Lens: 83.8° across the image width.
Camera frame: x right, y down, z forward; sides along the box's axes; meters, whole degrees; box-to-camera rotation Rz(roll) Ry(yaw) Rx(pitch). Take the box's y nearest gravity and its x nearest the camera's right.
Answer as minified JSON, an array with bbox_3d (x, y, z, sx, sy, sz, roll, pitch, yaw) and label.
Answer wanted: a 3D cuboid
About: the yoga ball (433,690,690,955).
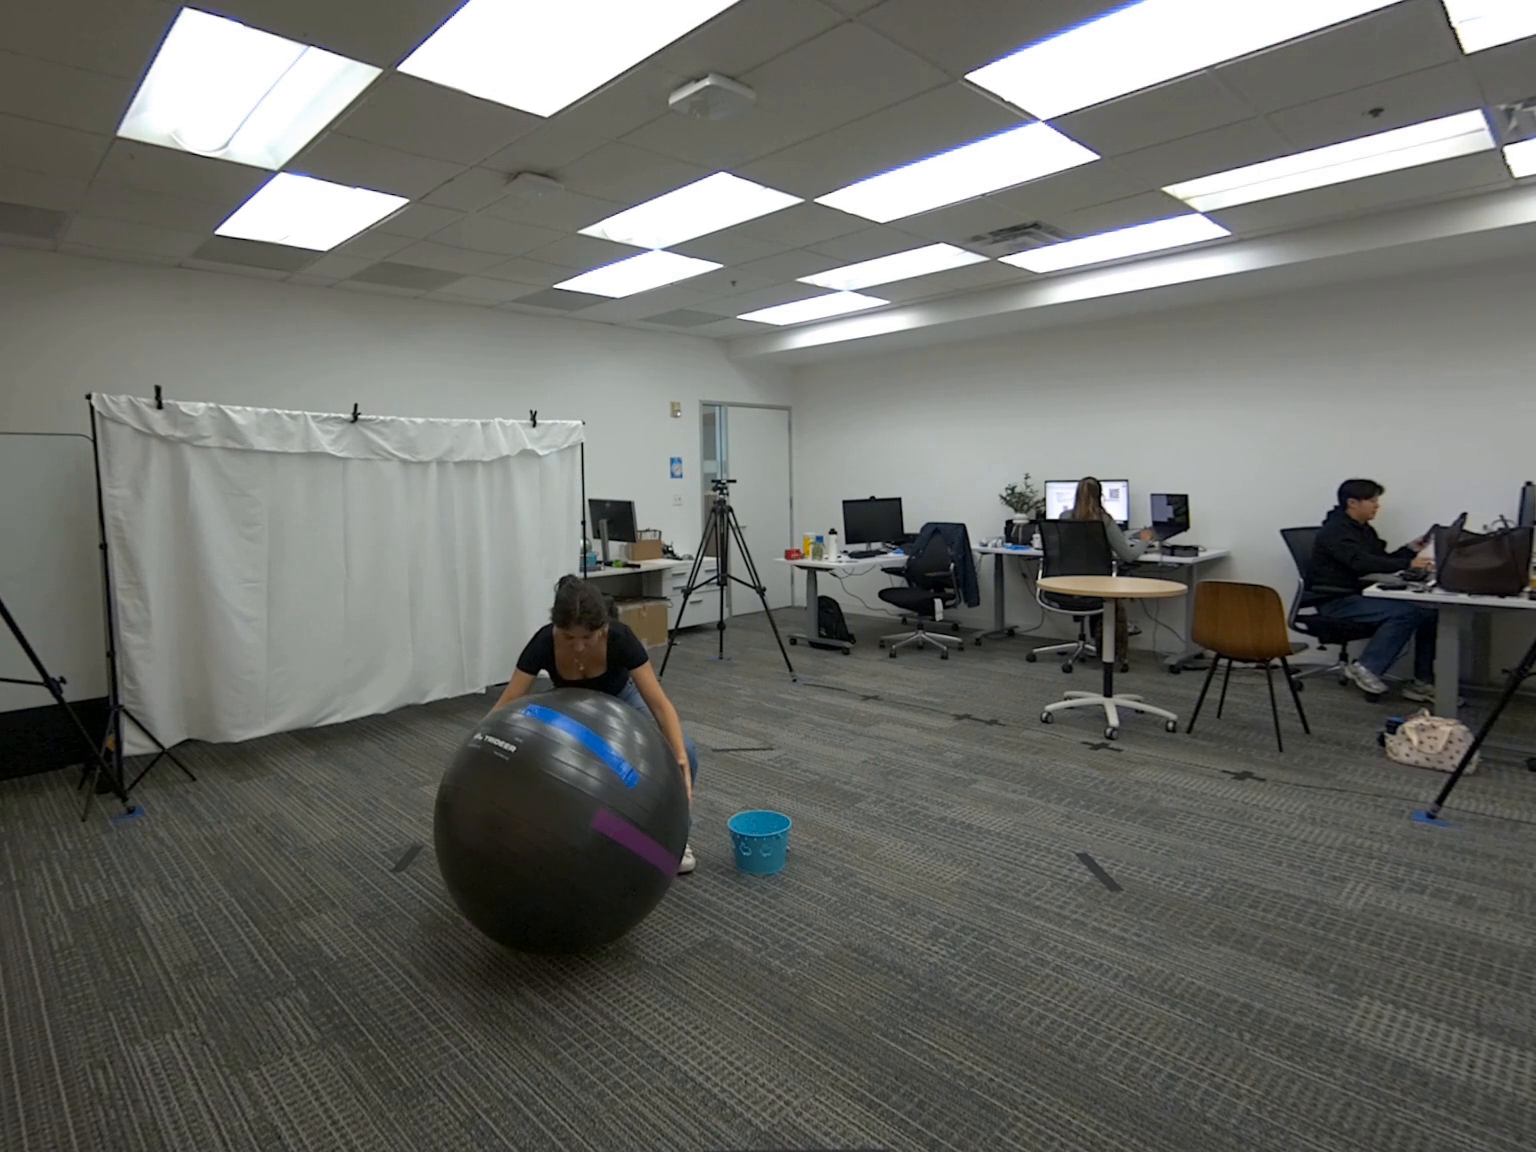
[{"bbox_3d":[-0.622,0.730,2.579,0.757,0.755,0.762,-1,5,-2],"label":"yoga ball"}]
